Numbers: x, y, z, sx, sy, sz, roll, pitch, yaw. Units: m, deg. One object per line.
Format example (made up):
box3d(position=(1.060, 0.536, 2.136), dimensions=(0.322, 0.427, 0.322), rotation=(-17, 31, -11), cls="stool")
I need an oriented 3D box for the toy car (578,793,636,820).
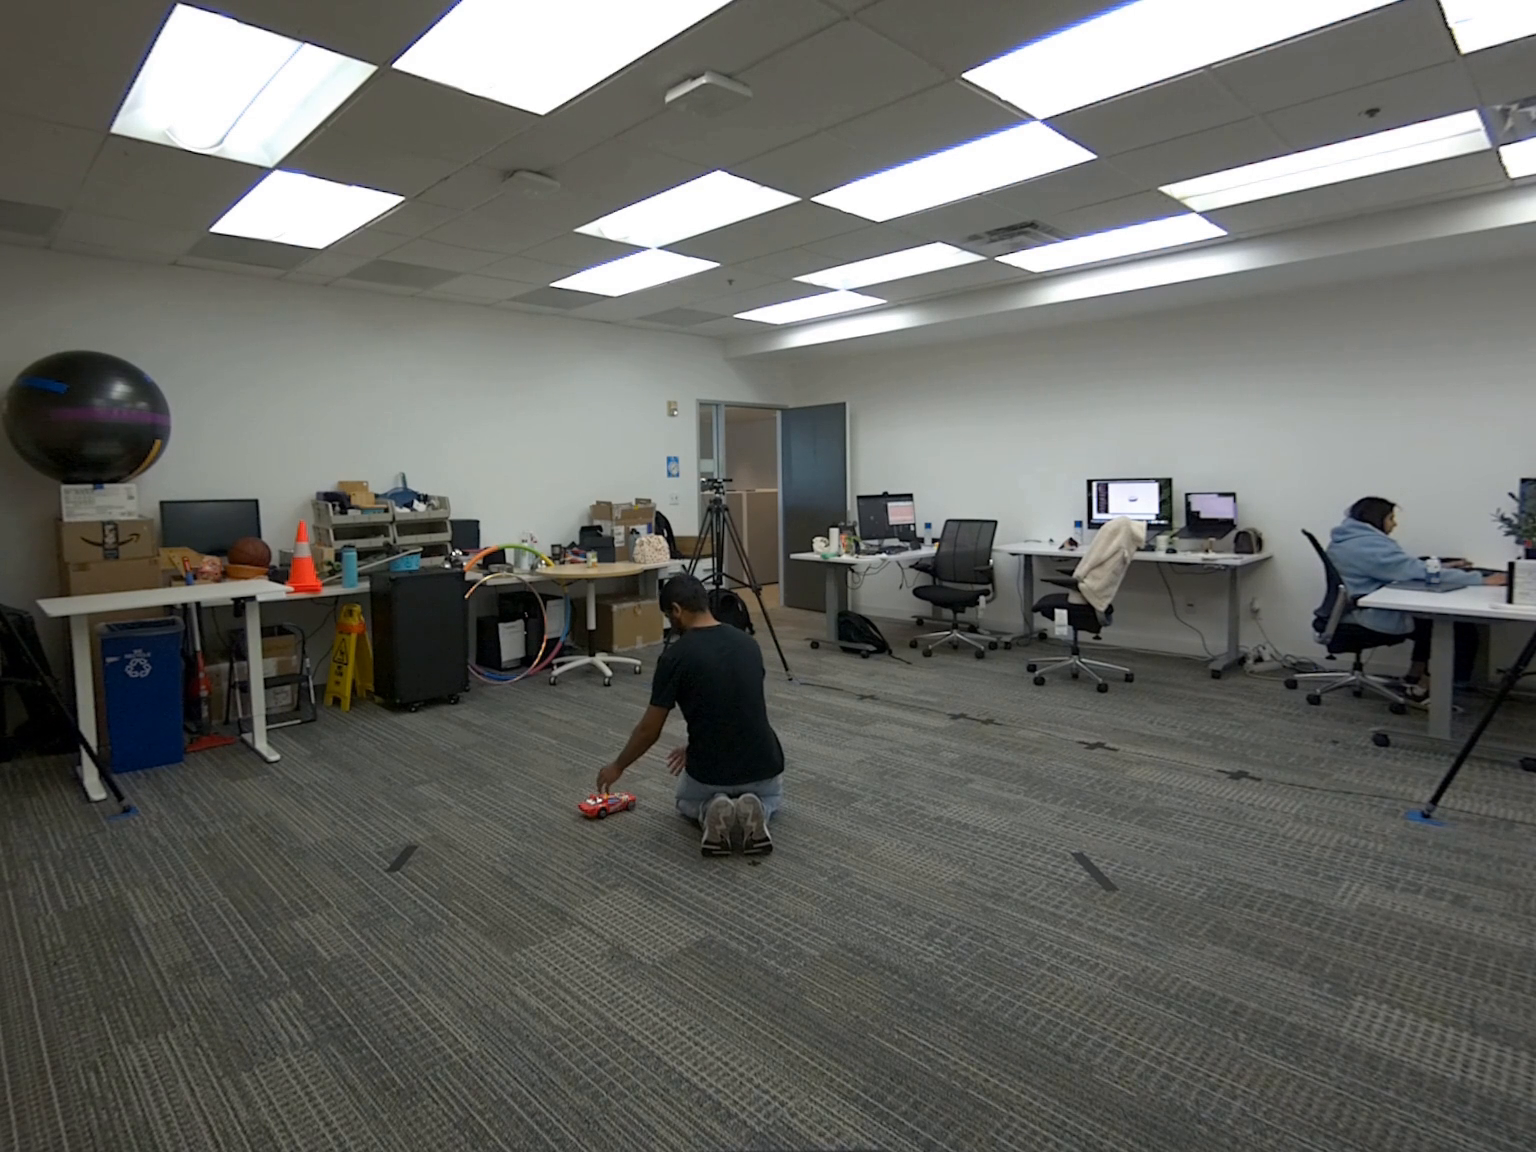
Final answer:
box3d(position=(-0.687, 0.962, 3.614), dimensions=(0.246, 0.083, 0.134), rotation=(7, -3, -40), cls="toy car")
